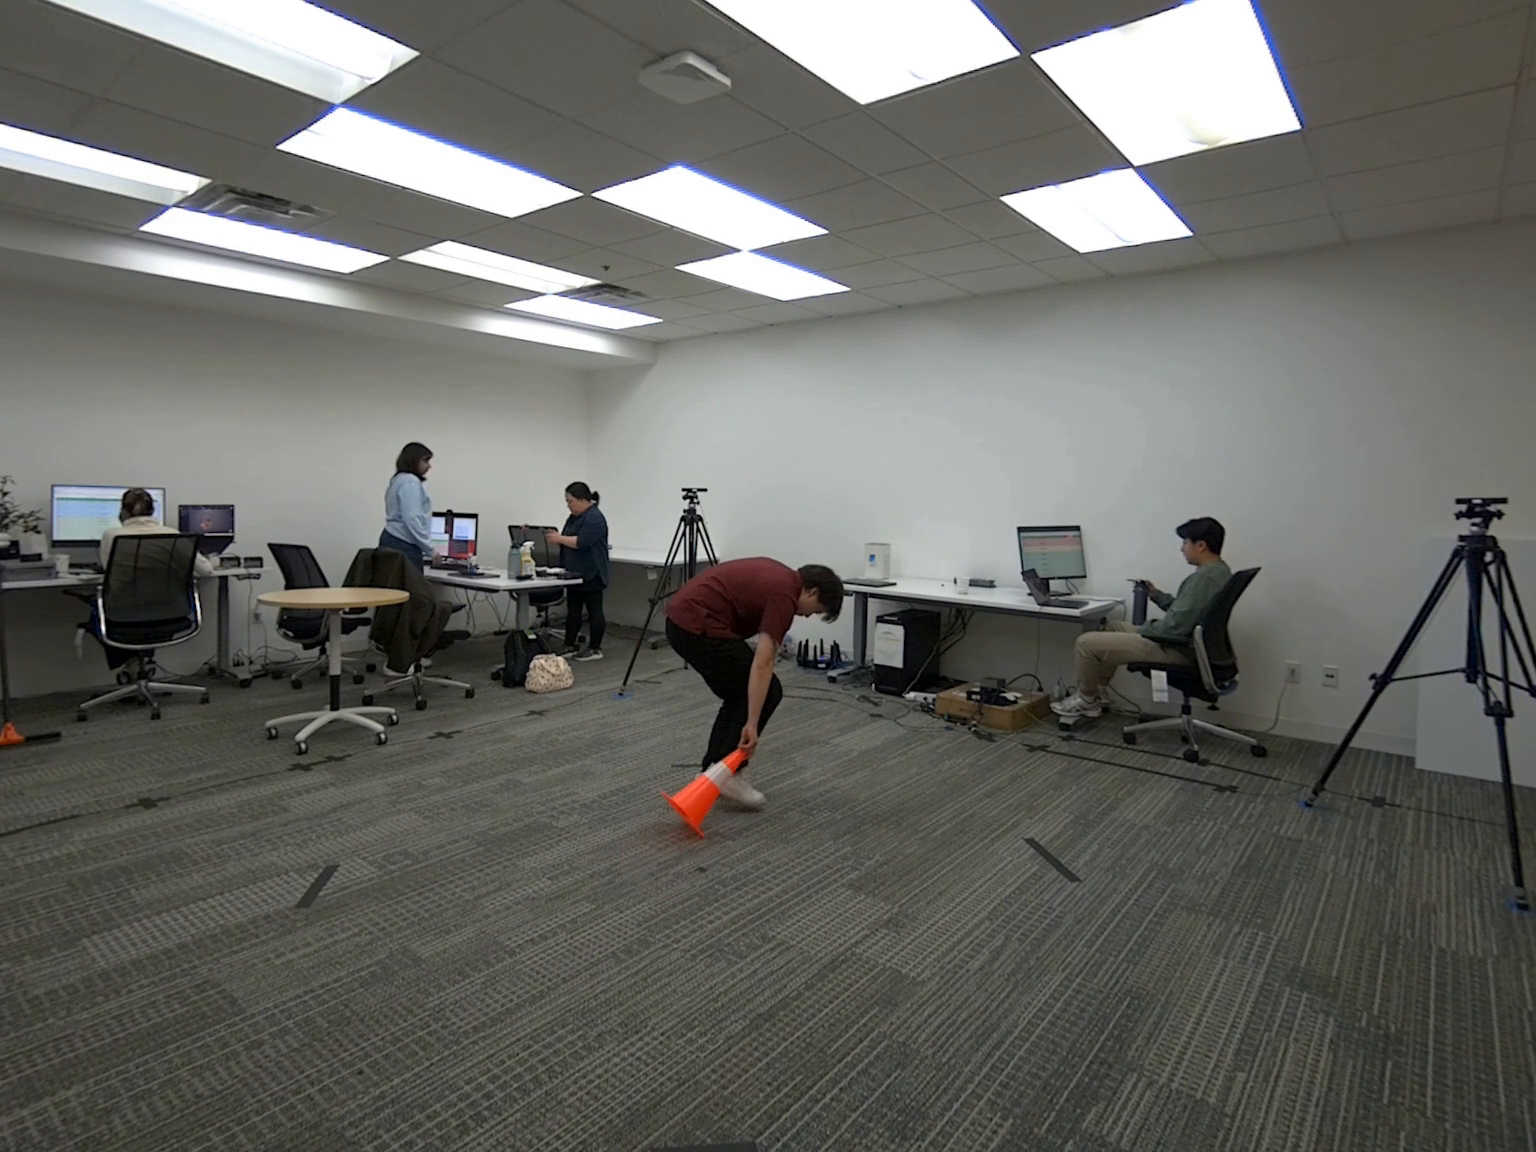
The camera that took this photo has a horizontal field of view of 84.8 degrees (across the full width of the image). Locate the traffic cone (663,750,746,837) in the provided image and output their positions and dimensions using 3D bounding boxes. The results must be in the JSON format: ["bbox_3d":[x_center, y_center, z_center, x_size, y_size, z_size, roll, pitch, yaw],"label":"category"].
[{"bbox_3d":[-0.237,0.845,3.501,0.382,0.199,0.211,-41,20,-22],"label":"traffic cone"}]
